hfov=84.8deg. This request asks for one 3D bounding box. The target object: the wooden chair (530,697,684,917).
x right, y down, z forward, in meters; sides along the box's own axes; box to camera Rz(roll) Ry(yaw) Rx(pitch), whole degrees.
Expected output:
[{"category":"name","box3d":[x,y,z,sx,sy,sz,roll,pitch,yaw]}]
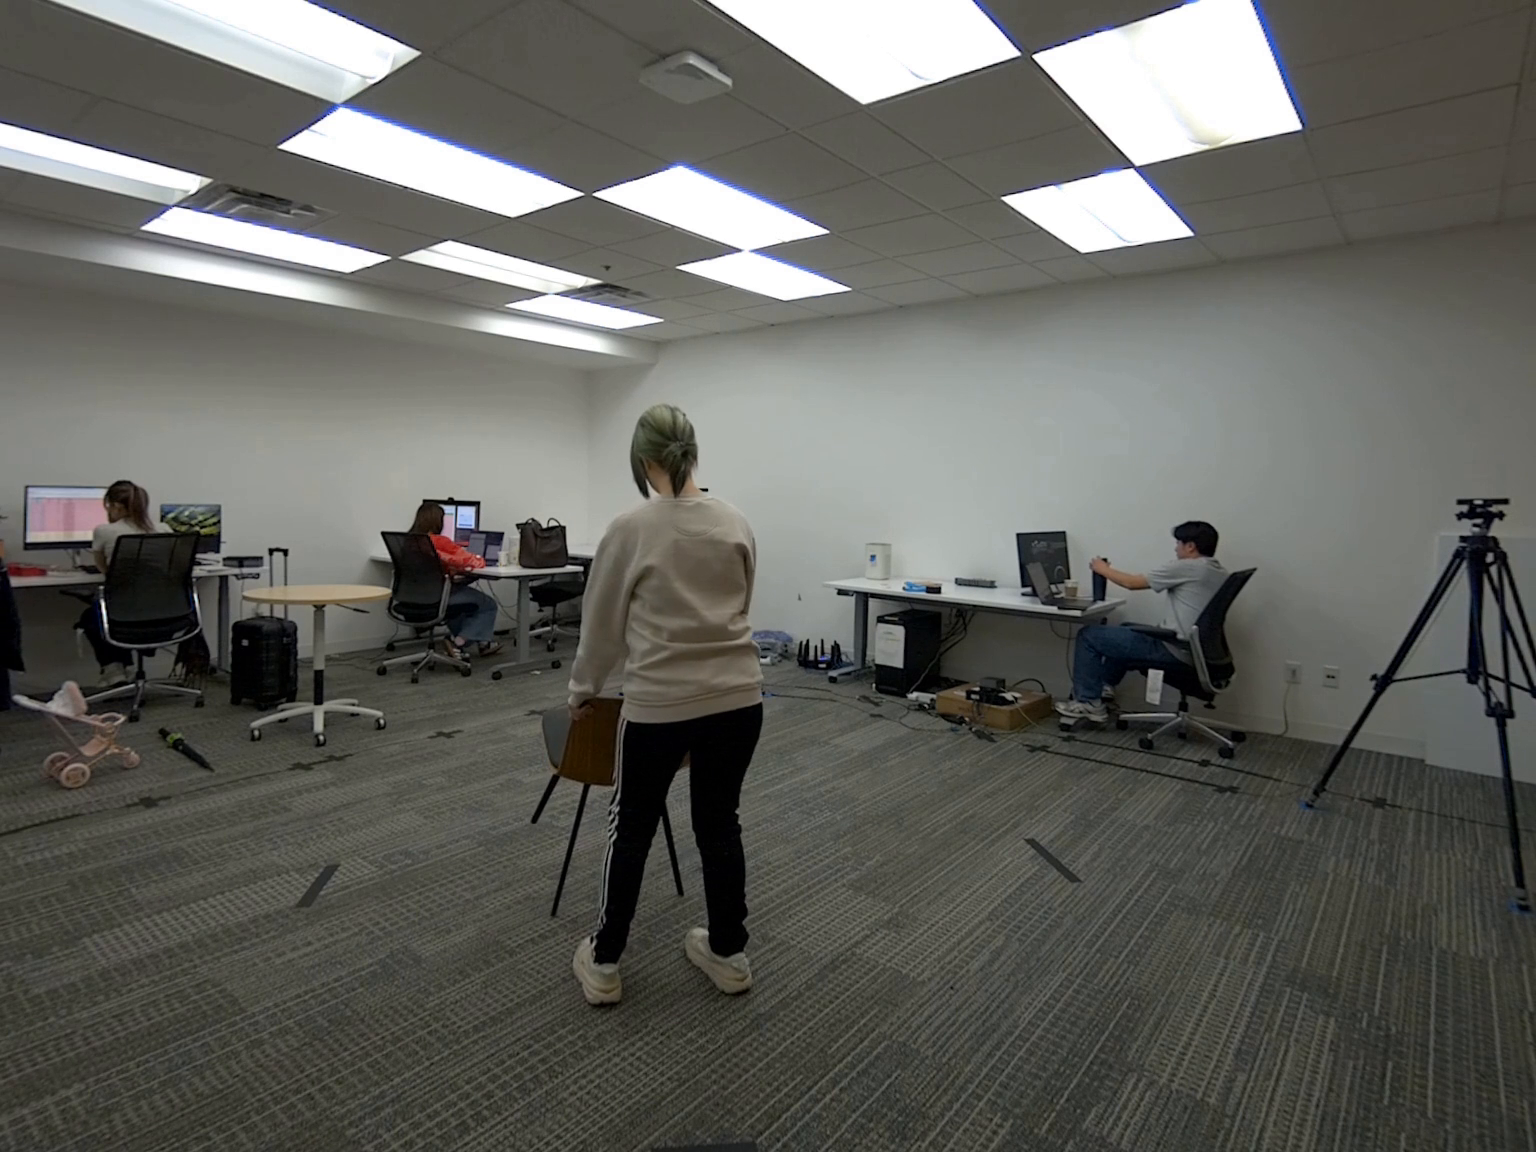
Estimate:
[{"category":"wooden chair","box3d":[-0.529,0.610,2.866,0.468,0.862,0.544,-1,28,-23]}]
